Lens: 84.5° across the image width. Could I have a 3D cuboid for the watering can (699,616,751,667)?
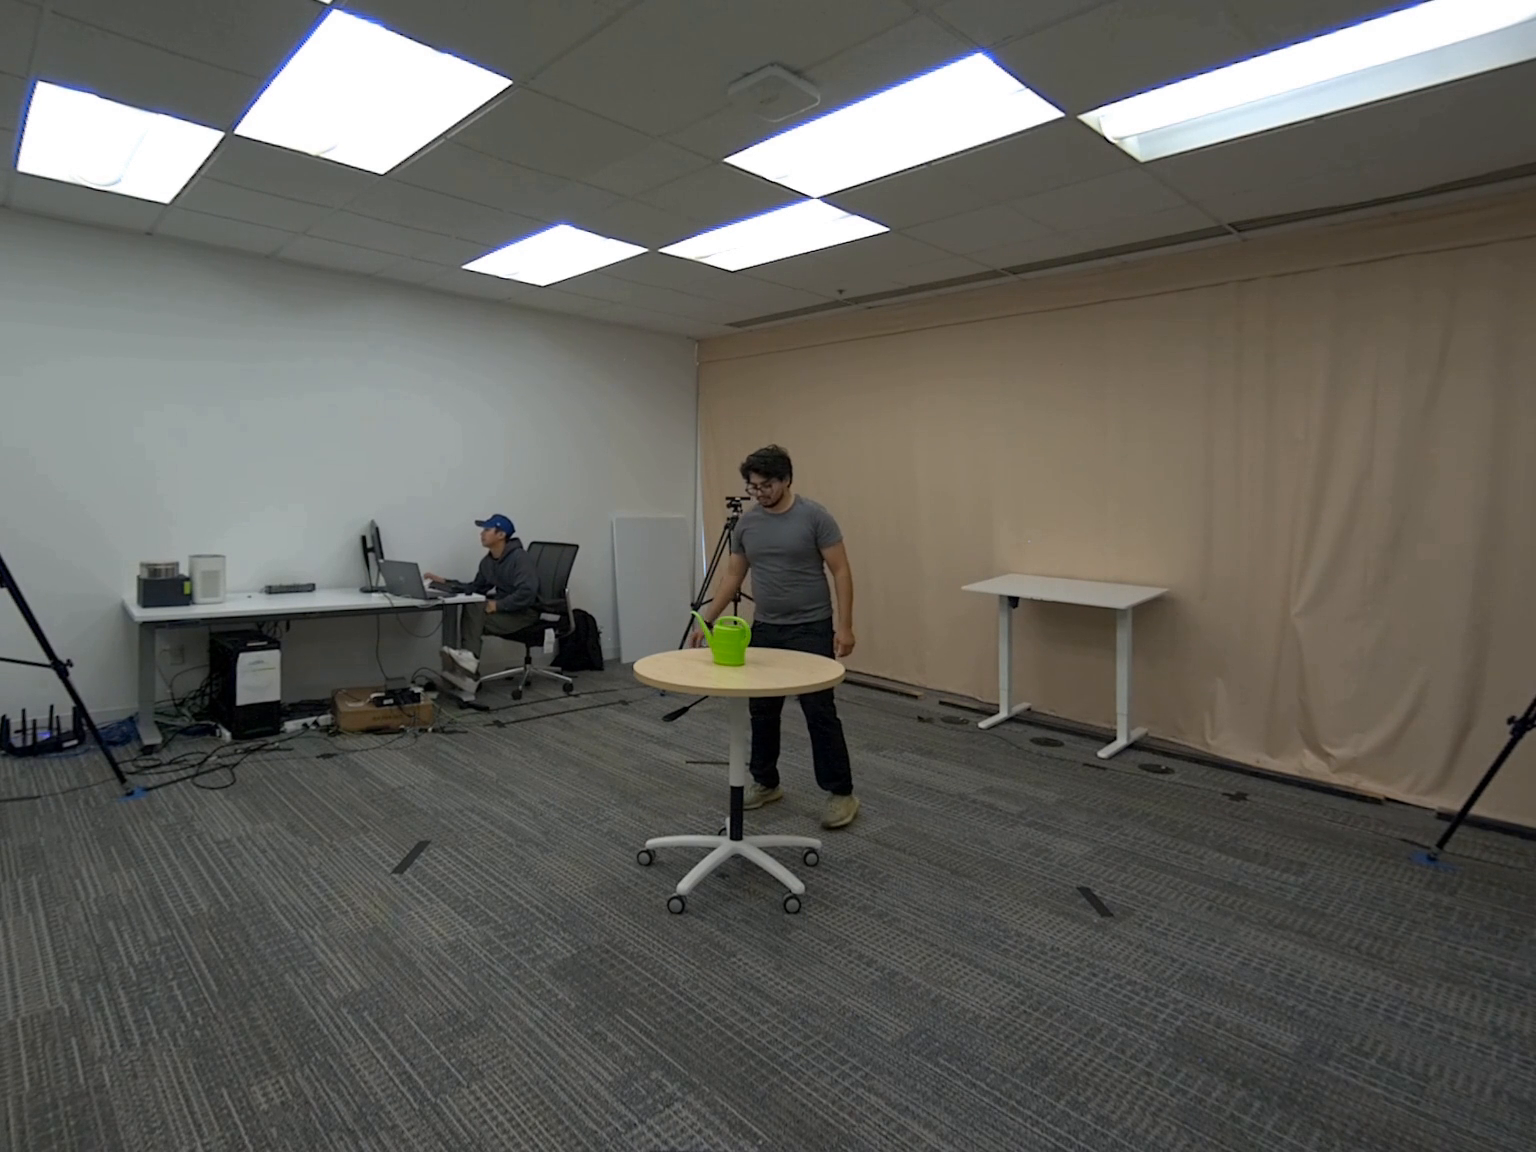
[{"bbox_3d":[-0.187,0.232,3.134,0.096,0.176,0.285,-2,6,-39],"label":"watering can"}]
